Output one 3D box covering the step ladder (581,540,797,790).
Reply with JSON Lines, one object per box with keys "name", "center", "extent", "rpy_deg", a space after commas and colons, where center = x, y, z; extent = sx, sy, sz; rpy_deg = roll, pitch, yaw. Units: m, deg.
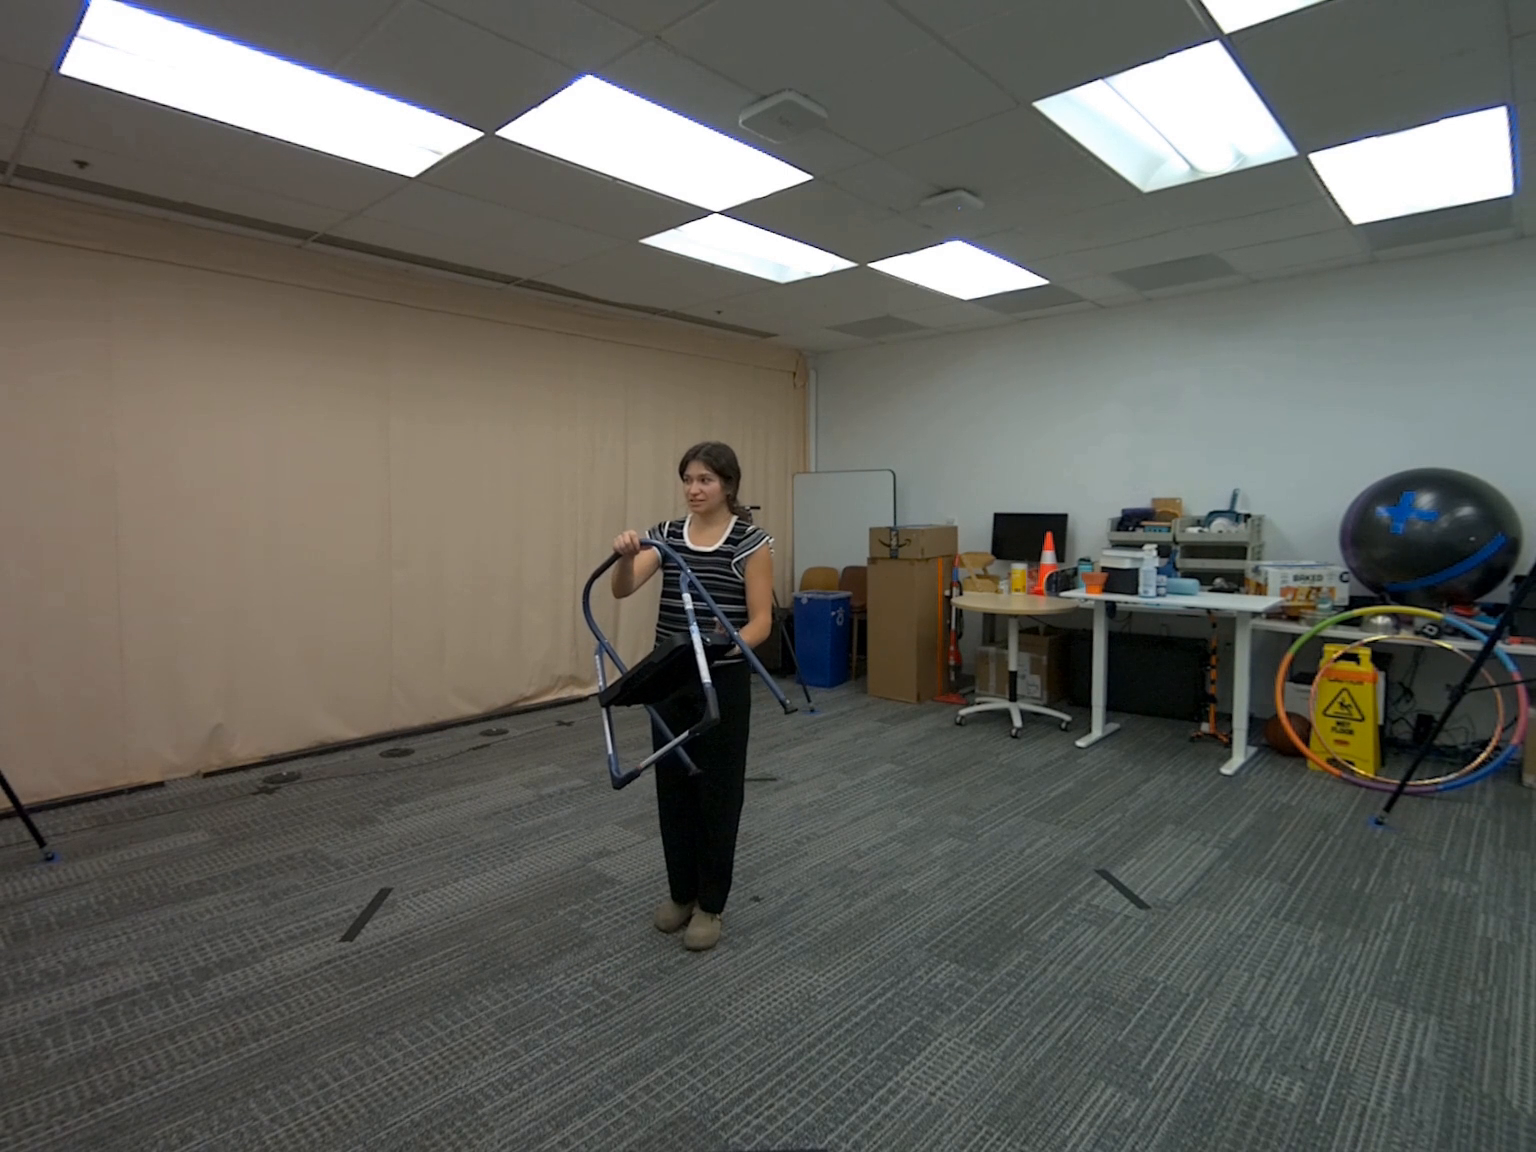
{"name": "step ladder", "center": [-0.286, 0.212, 2.367], "extent": [0.435, 0.620, 0.337], "rpy_deg": [-38, -27, 29]}
